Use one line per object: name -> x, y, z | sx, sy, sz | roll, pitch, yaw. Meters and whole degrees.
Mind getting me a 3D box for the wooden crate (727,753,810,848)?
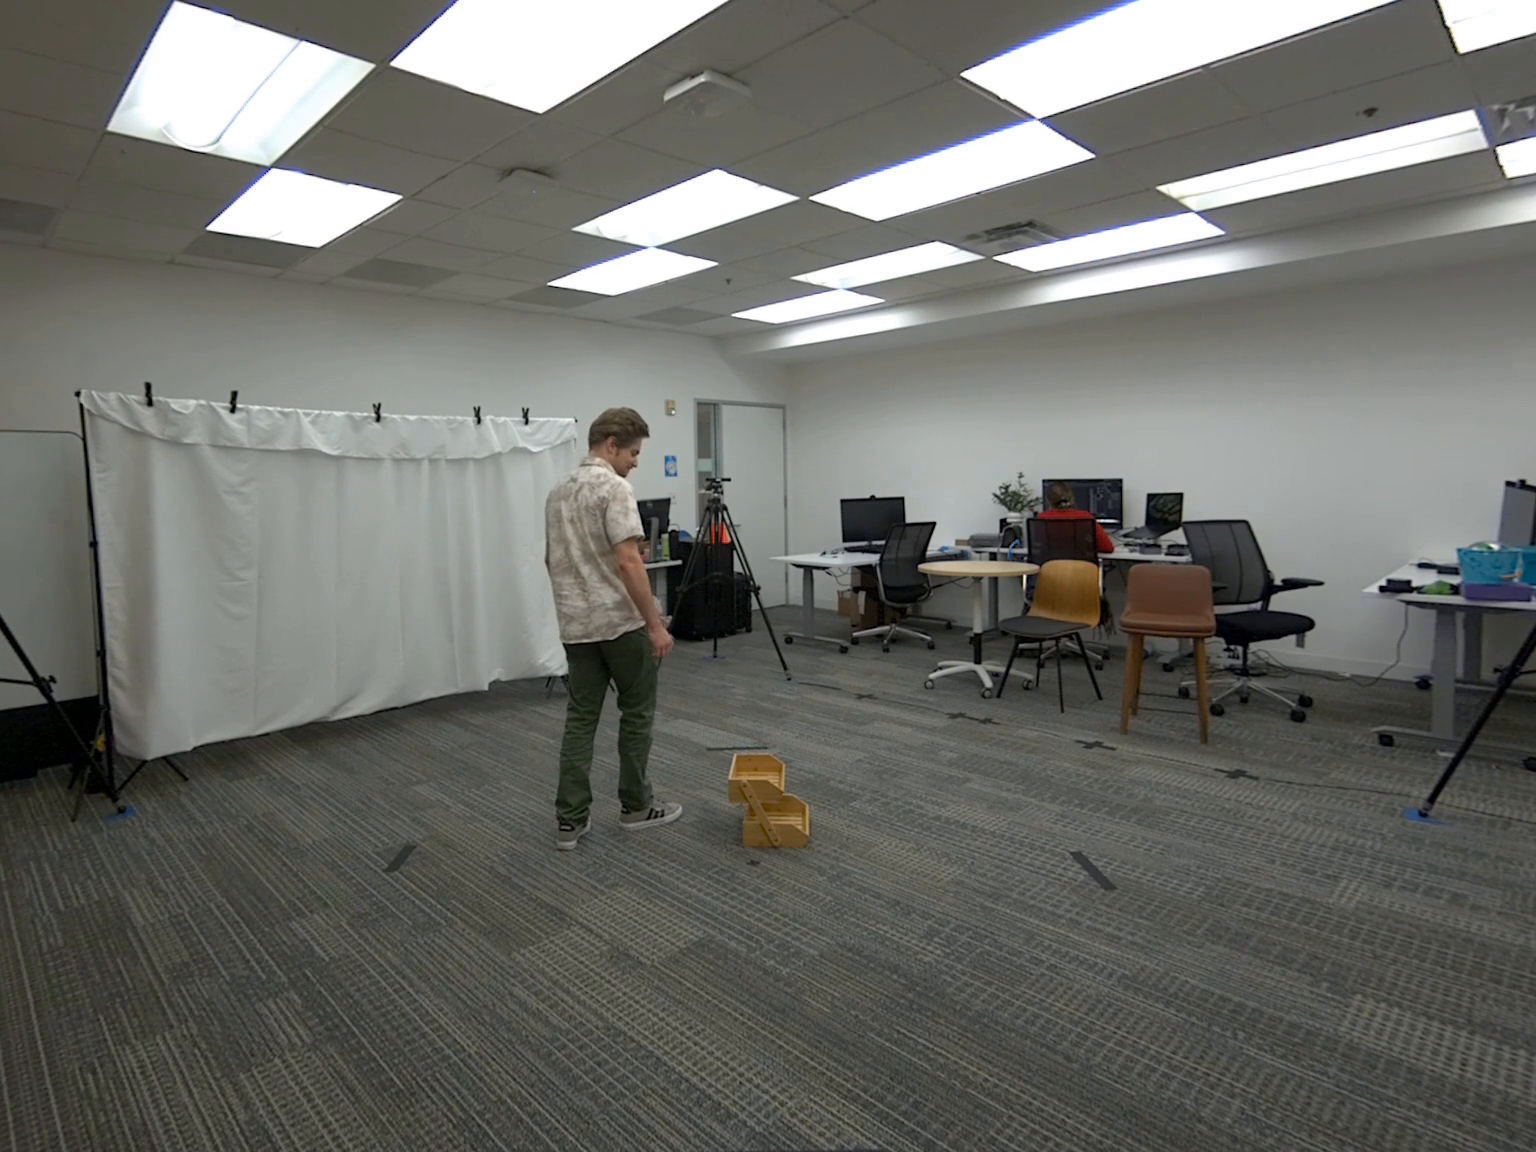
wooden crate -> 0.012, 0.875, 3.380 | 0.303, 0.272, 0.325 | -1, 5, 3
